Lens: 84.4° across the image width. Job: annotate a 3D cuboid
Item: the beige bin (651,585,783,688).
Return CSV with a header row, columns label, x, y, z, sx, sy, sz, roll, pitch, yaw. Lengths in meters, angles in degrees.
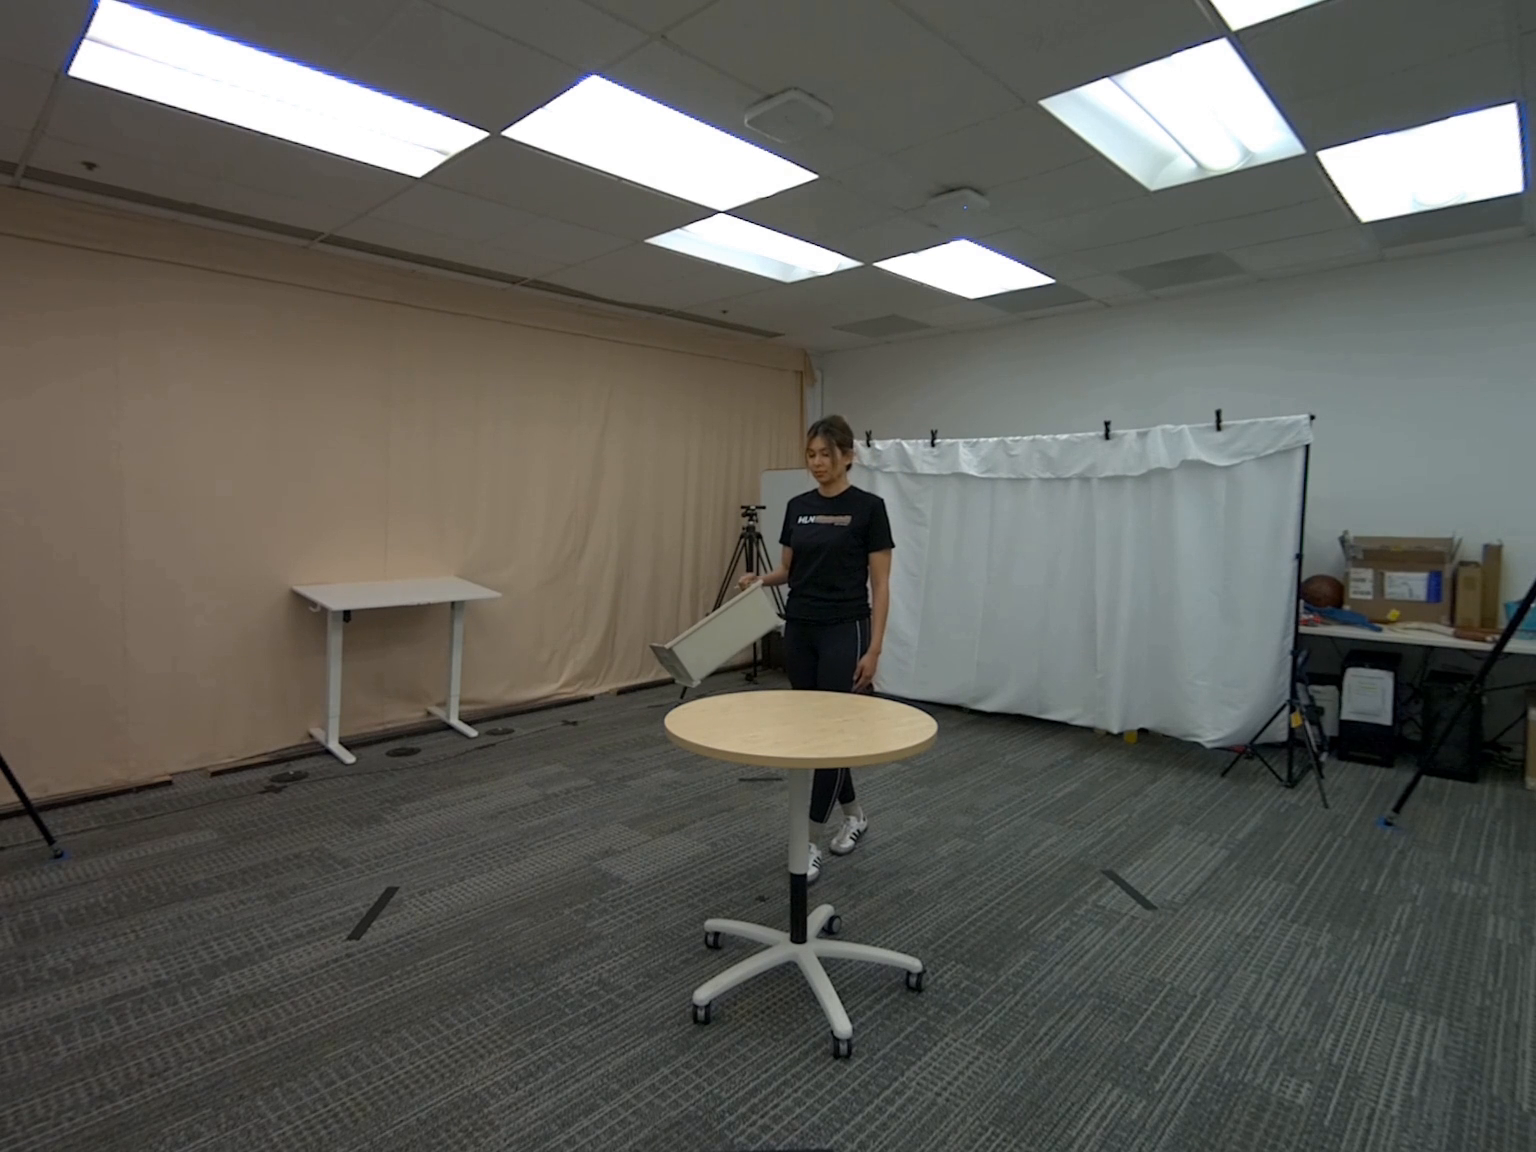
label,x,y,z,sx,sy,sz,roll,pitch,yaw
beige bin,-0.194,0.210,3.131,0.419,0.187,0.383,-34,8,-14
